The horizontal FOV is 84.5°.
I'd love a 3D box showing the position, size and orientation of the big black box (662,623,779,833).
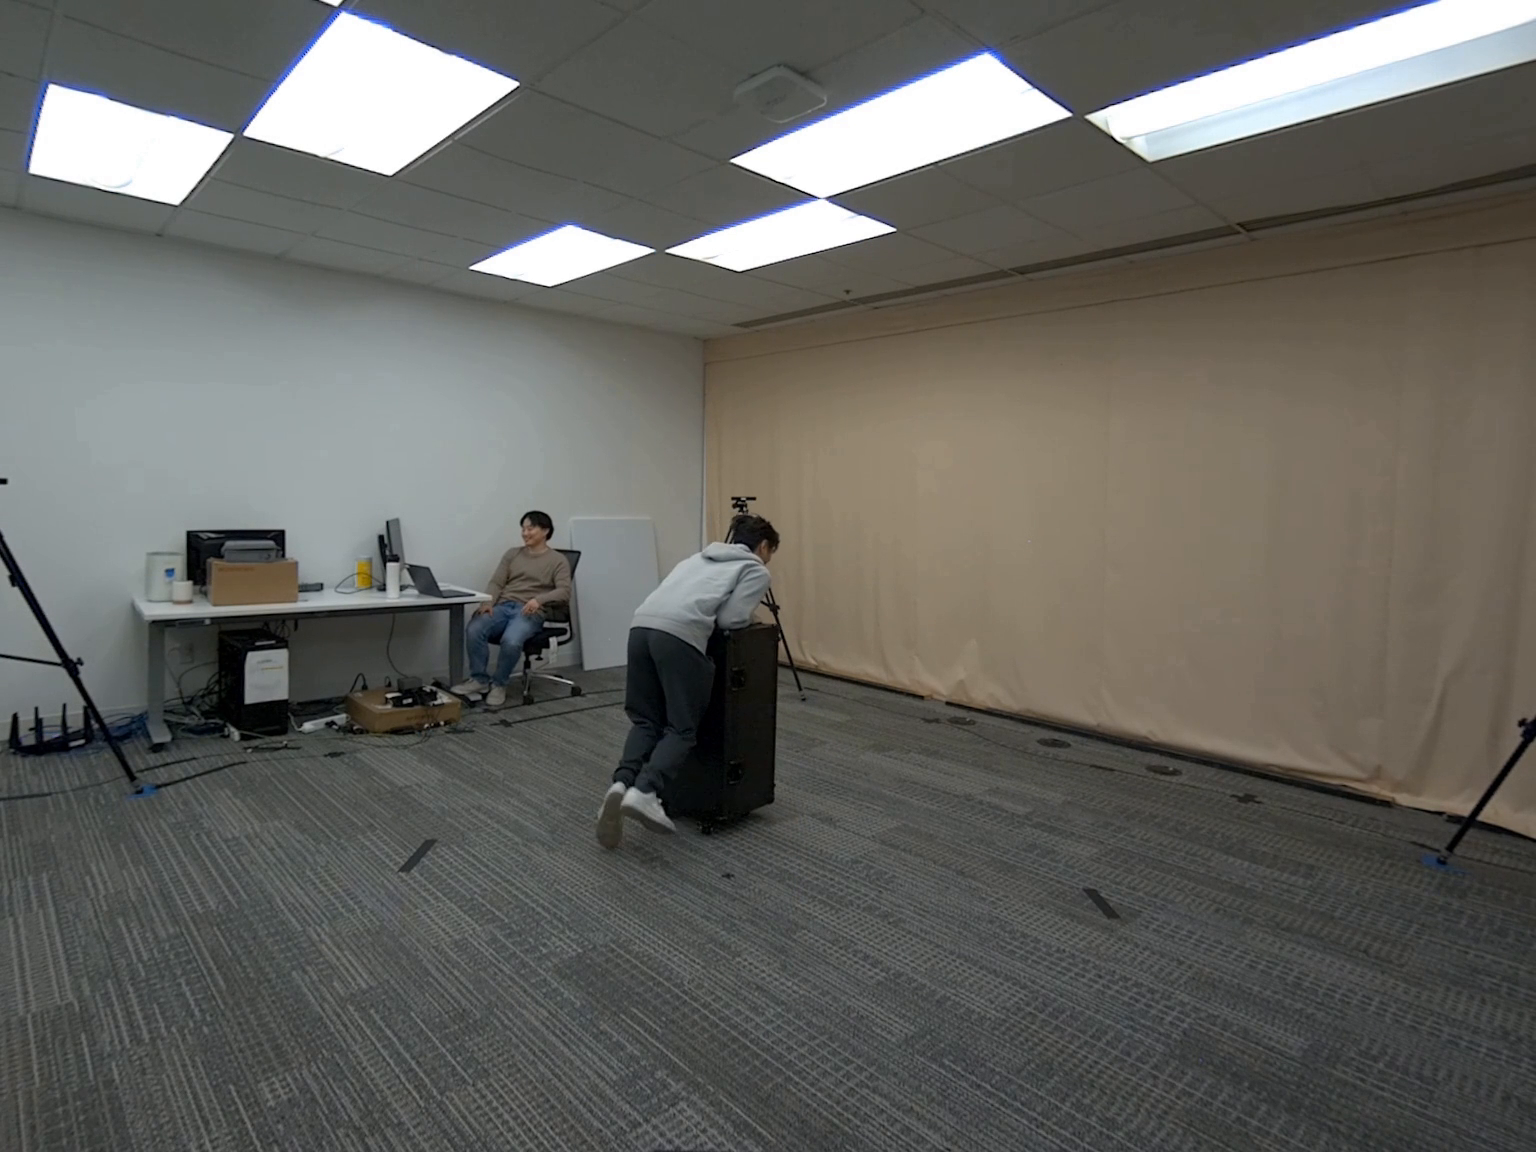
[{"bbox_3d":[-0.264,0.630,3.702,0.534,0.860,0.387,4,3,39],"label":"big black box"}]
